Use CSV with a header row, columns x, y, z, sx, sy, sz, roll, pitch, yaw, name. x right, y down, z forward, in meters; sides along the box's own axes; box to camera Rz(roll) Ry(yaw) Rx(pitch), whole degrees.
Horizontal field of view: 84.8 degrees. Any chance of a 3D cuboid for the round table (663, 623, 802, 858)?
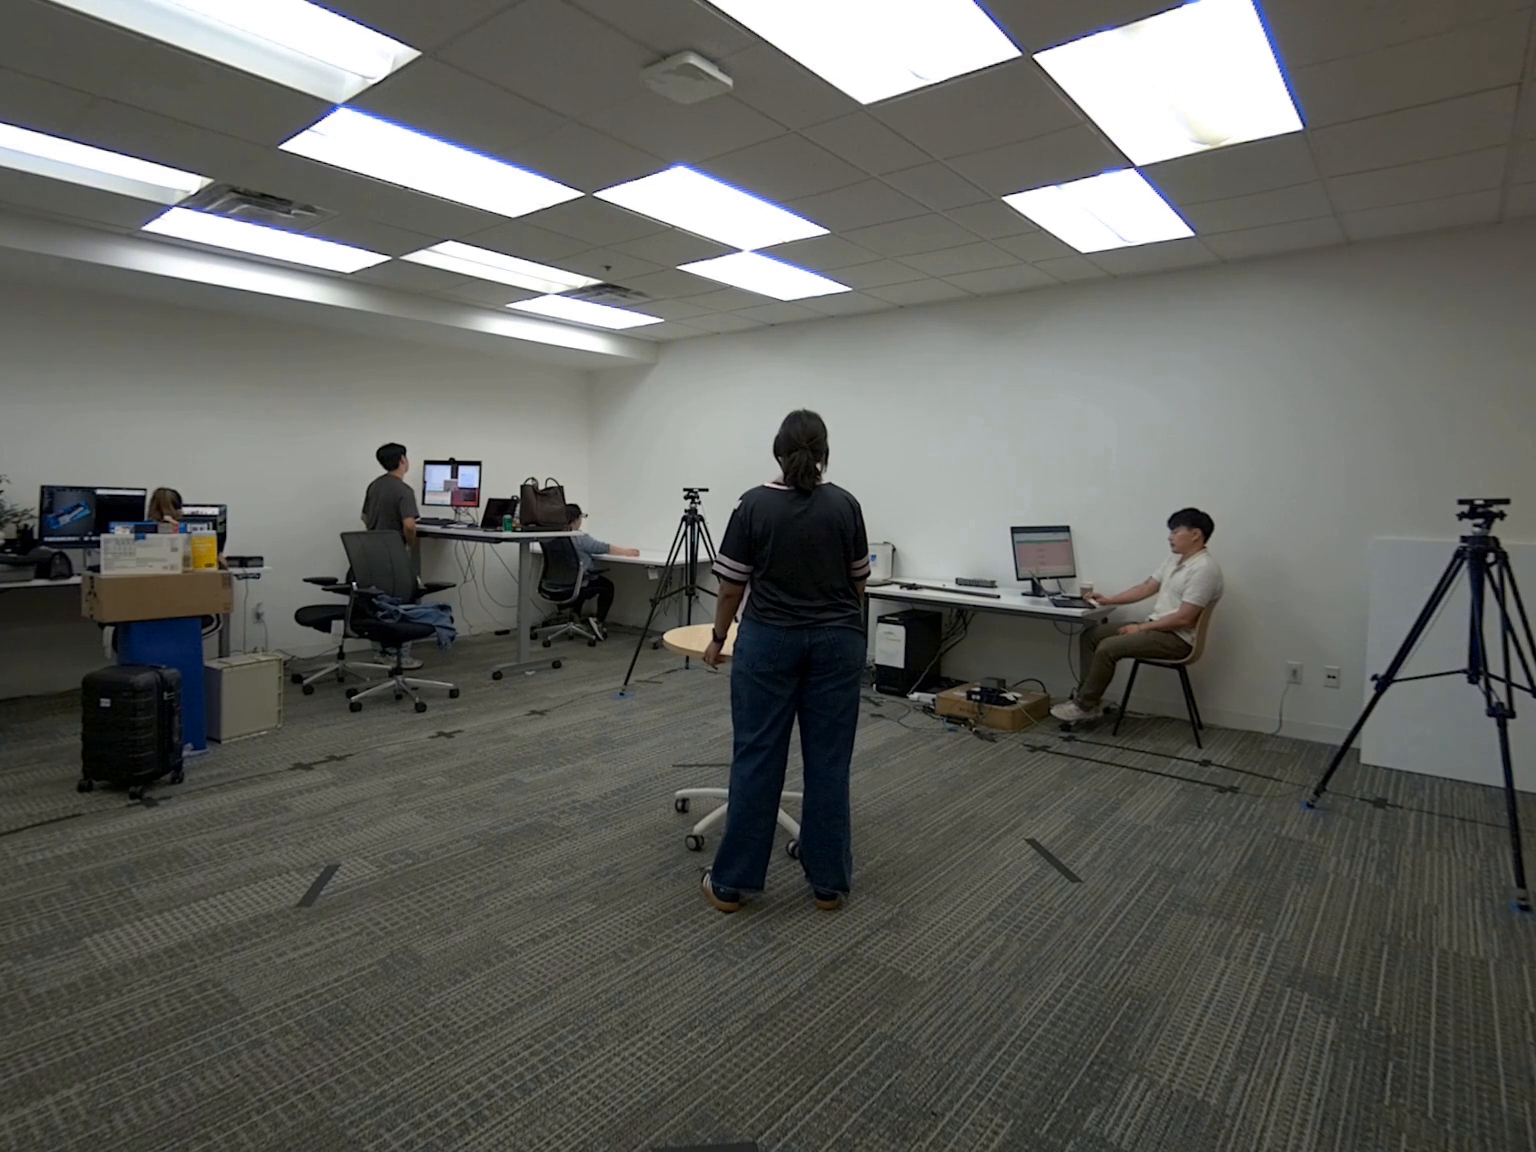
x,y,z,sx,sy,sz,roll,pitch,yaw,name
-0.072,0.642,3.511,0.763,0.791,0.768,1,4,-2,round table
